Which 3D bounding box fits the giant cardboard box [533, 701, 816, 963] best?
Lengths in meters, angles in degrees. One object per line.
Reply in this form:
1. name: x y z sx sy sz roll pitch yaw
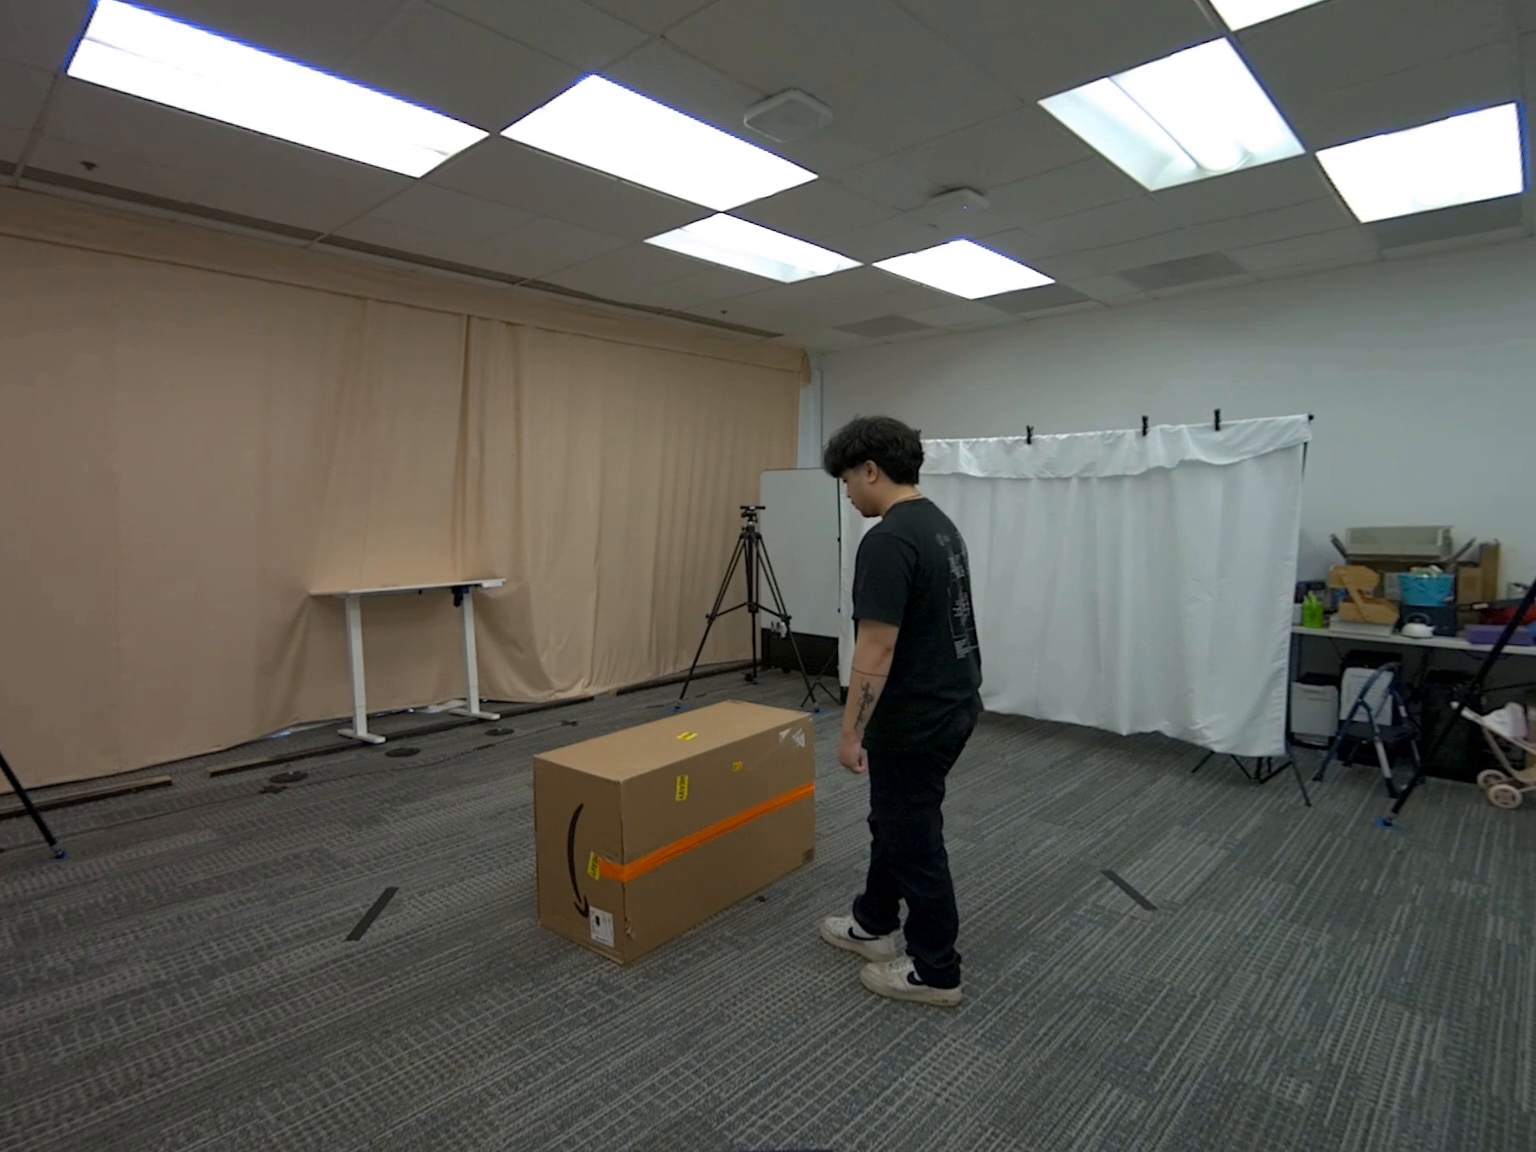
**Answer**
1. giant cardboard box: -0.296 0.855 3.049 0.461 0.582 0.997 3 6 39
